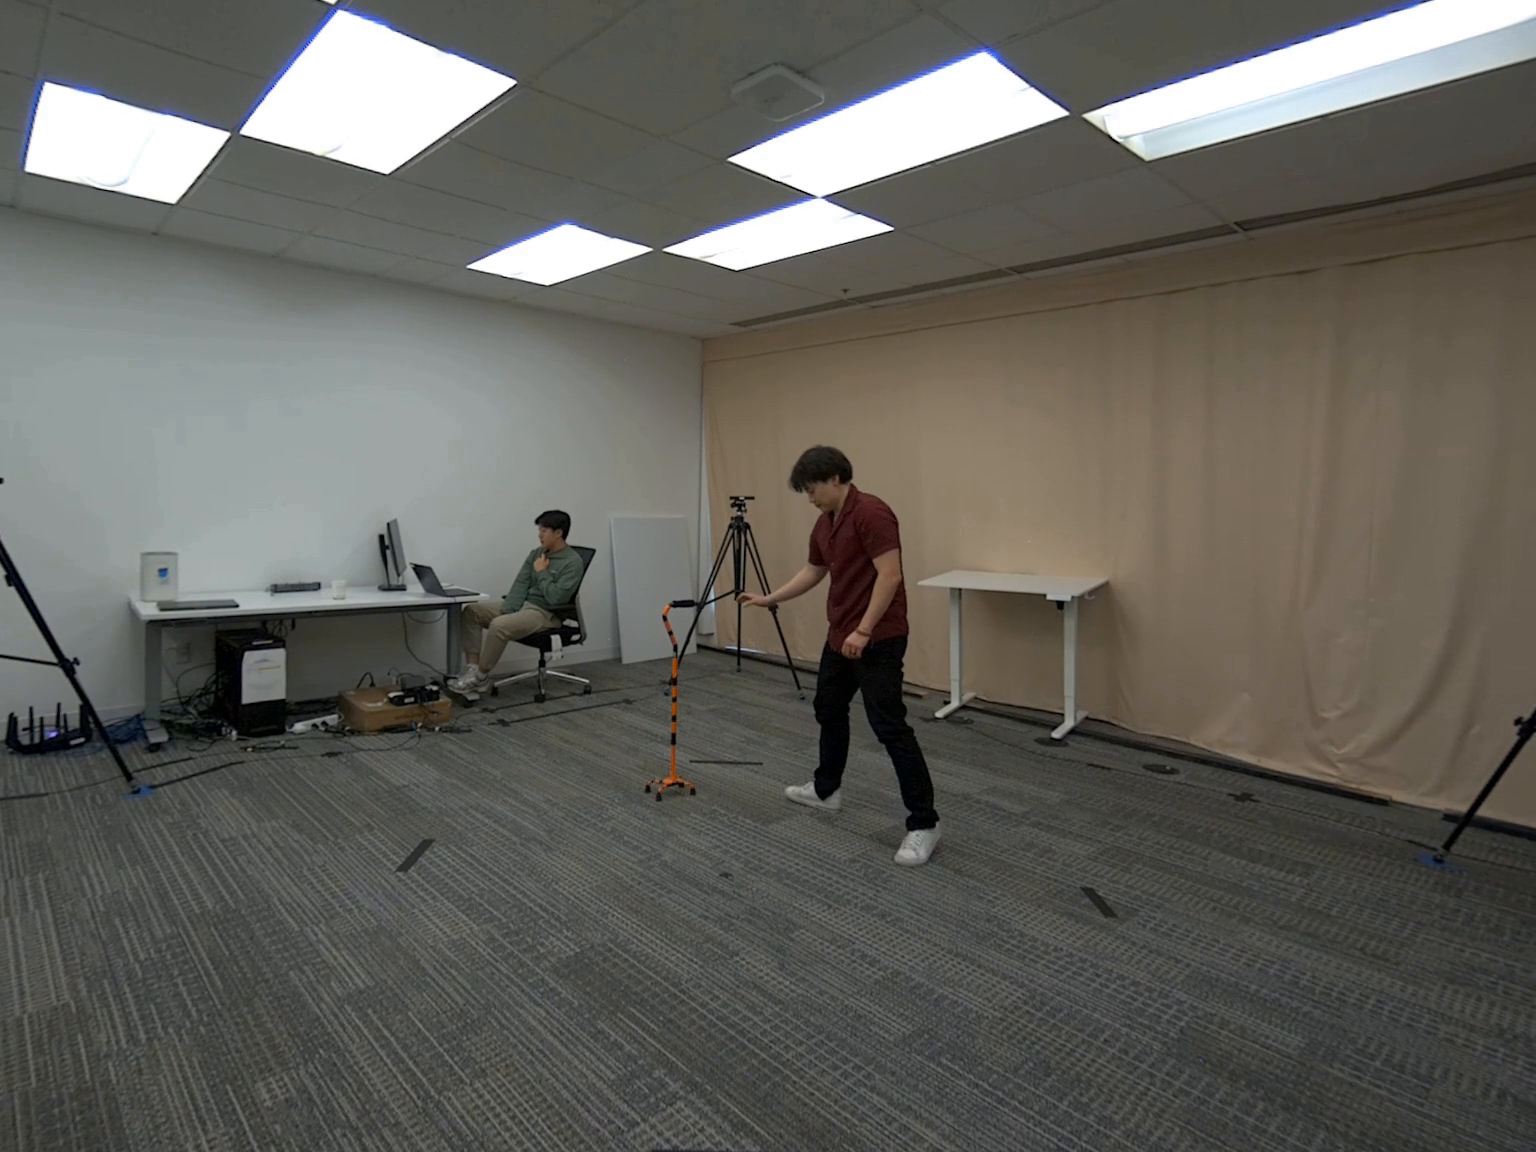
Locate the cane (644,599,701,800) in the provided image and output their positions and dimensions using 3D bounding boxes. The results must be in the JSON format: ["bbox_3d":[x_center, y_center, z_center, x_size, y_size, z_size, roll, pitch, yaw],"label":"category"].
[{"bbox_3d":[-0.452,0.570,3.938,0.202,0.906,0.155,0,3,-29],"label":"cane"}]
